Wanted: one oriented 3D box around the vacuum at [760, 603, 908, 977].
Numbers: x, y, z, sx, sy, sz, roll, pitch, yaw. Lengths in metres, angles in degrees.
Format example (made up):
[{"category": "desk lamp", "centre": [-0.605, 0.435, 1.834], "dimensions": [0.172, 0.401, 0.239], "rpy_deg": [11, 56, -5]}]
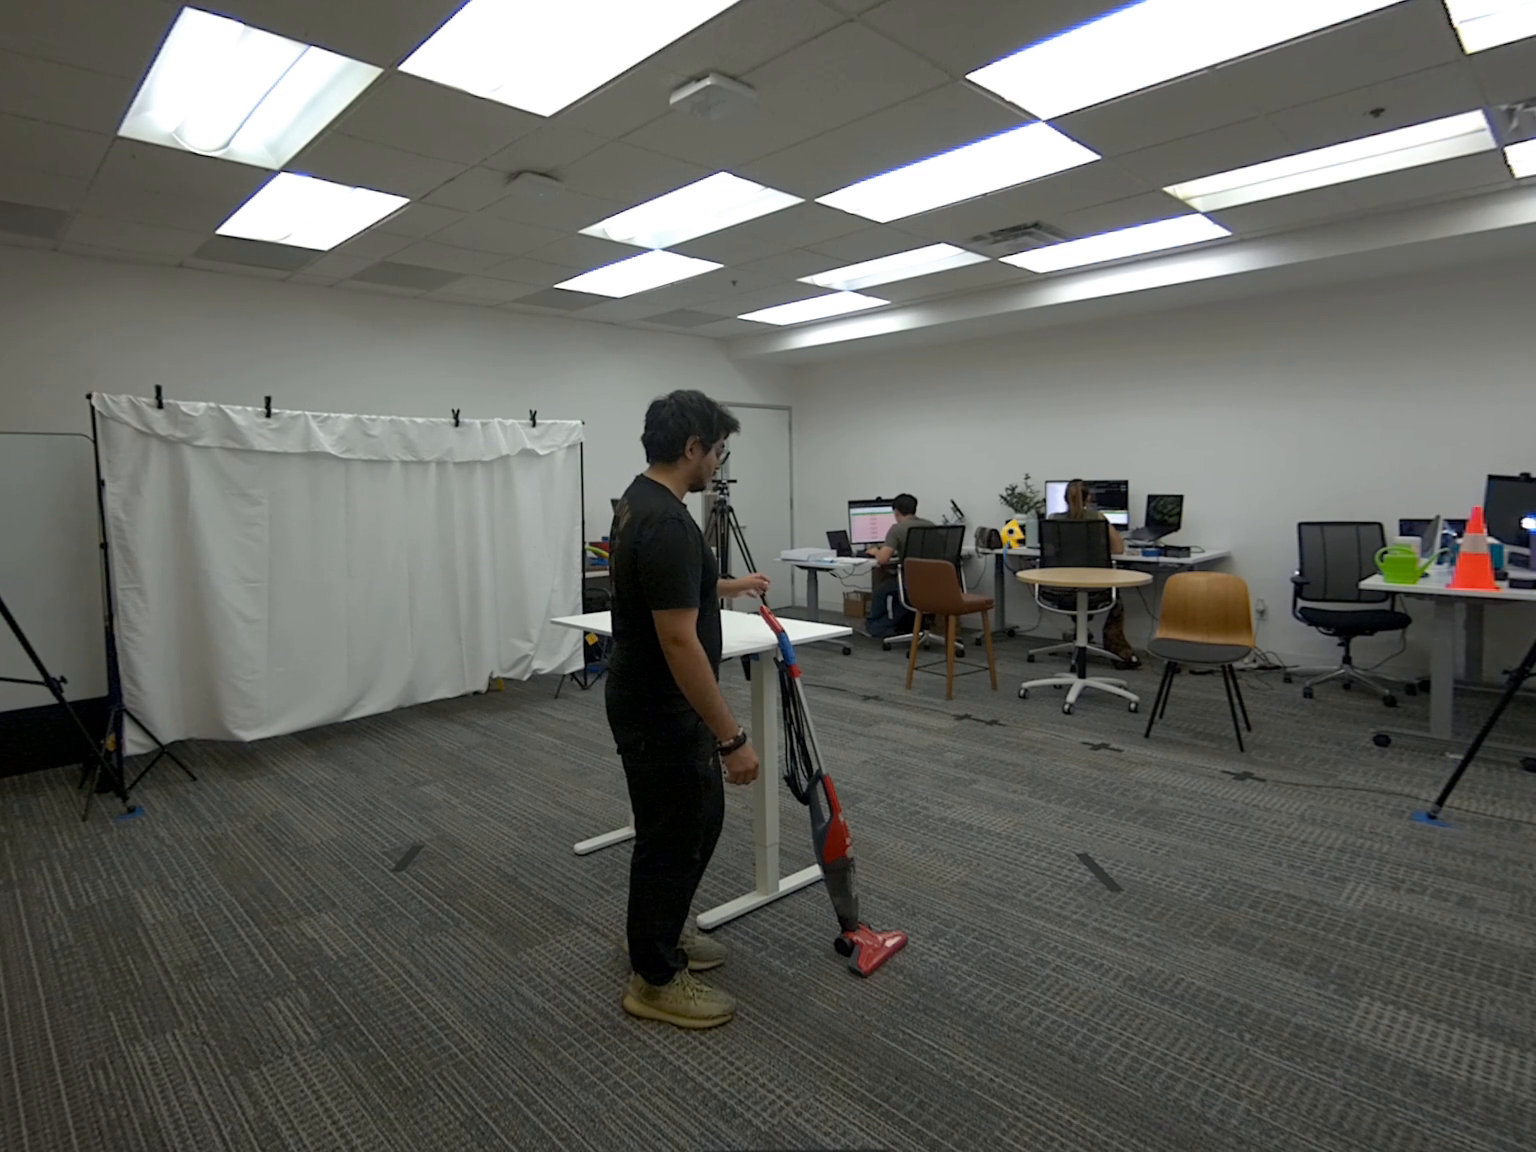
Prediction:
[{"category": "vacuum", "centre": [0.144, 0.604, 2.603], "dimensions": [0.146, 1.060, 0.246], "rpy_deg": [-23, -10, 34]}]
